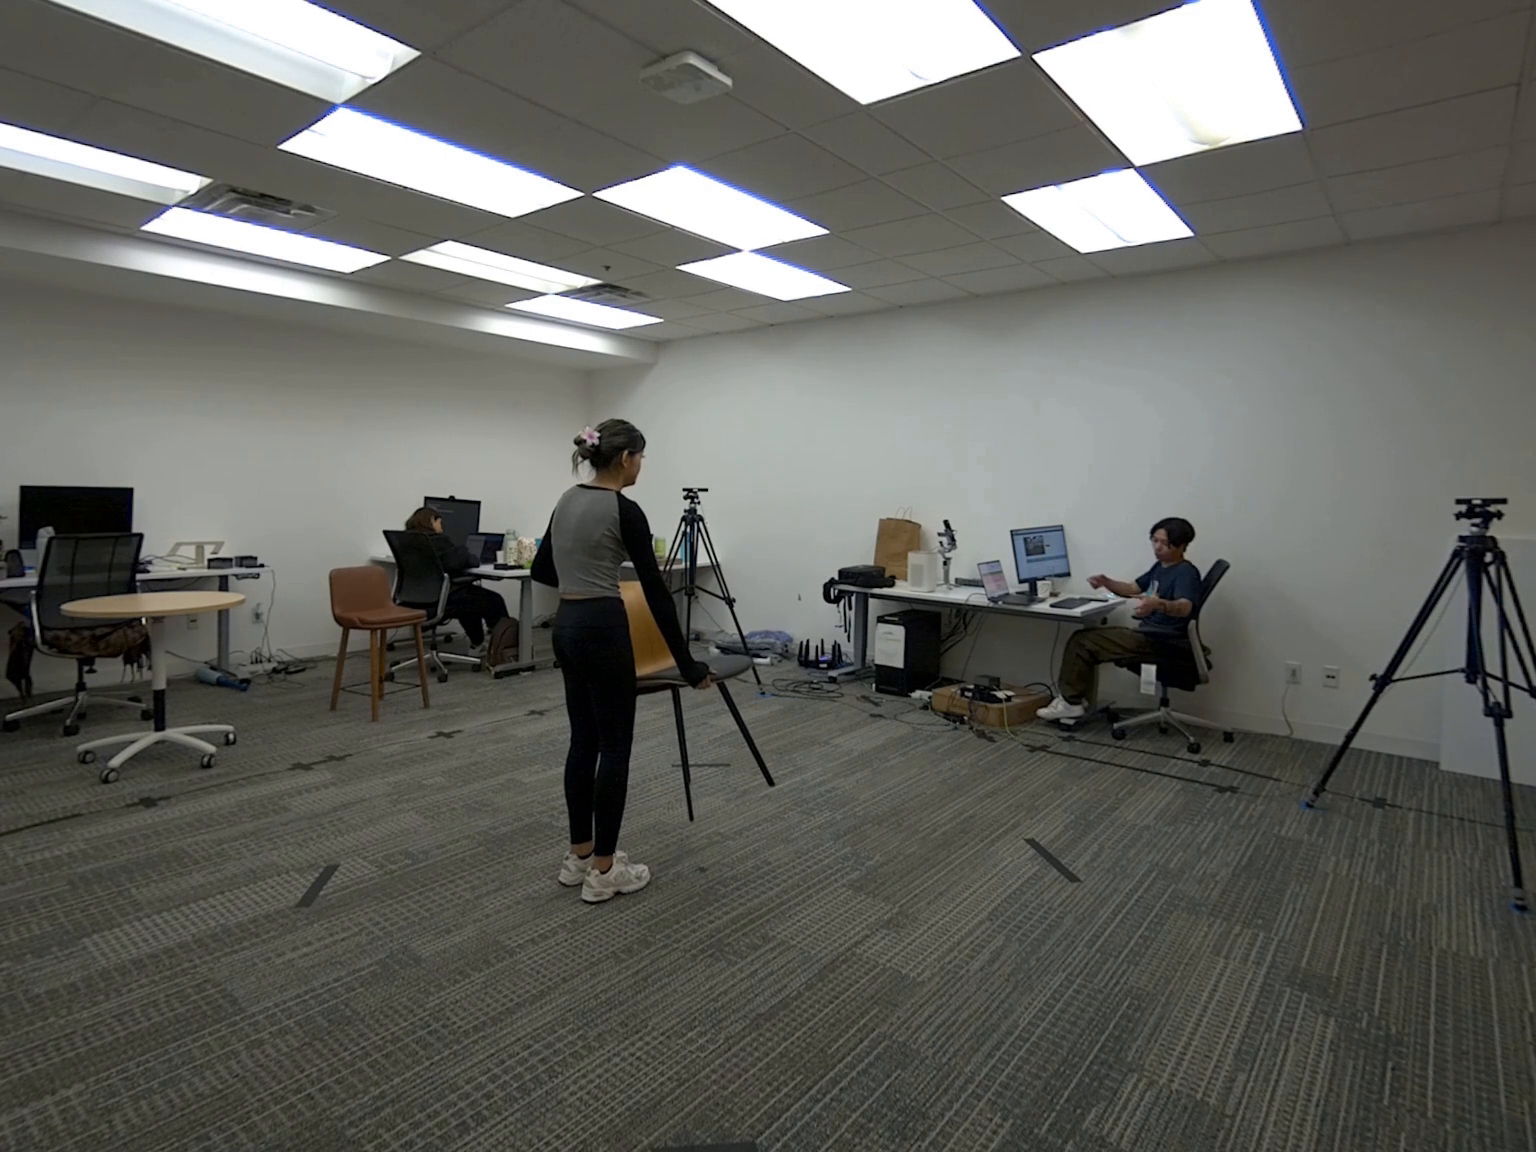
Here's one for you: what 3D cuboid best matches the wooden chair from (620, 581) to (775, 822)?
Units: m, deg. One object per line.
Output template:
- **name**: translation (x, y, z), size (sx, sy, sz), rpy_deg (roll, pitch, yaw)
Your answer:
- **wooden chair**: translation (-0.352, 0.410, 3.177), size (0.535, 0.884, 0.464), rpy_deg (-16, -7, 40)
